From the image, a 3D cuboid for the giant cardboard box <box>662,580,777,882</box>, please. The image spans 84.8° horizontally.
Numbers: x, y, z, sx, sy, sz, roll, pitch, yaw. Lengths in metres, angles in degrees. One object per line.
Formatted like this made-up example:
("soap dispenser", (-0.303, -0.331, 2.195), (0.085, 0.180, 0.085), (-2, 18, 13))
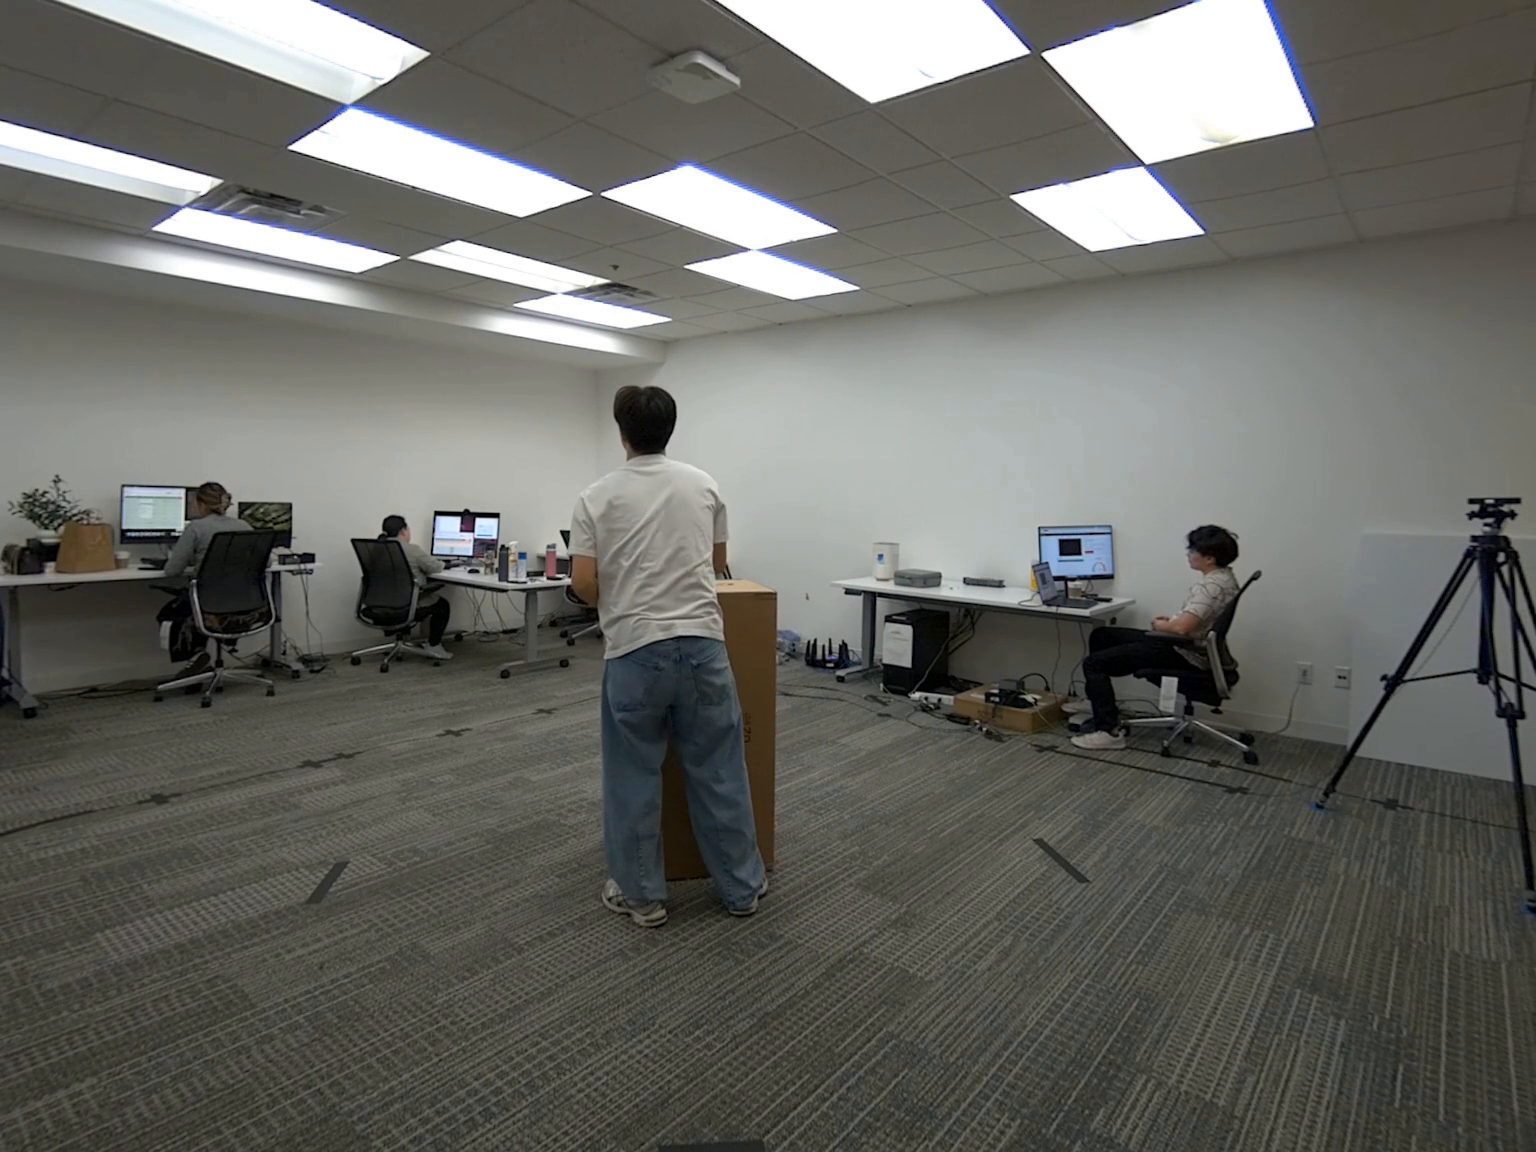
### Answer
("giant cardboard box", (-0.314, 0.541, 3.205), (0.568, 1.023, 0.434), (0, 3, -16))
